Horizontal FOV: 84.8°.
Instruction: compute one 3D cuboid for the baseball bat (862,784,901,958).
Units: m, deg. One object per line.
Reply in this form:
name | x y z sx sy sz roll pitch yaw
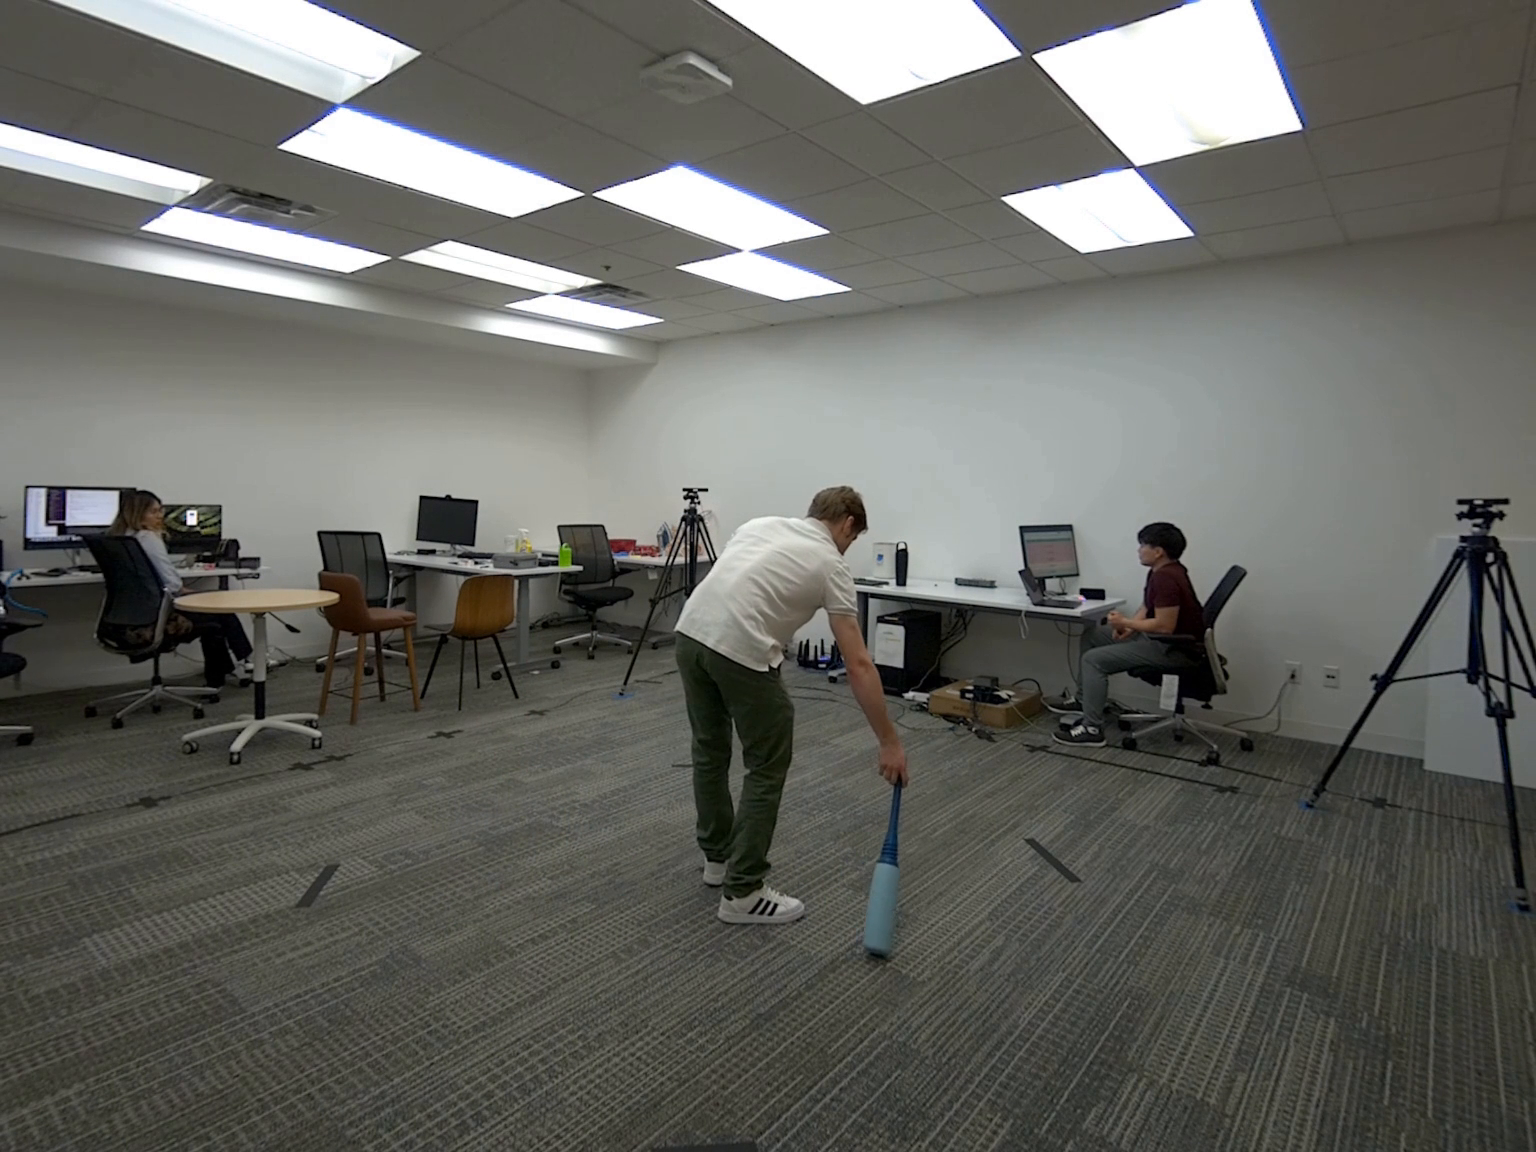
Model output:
baseball bat | 0.379 0.896 2.669 0.090 0.551 0.087 14 -29 6
